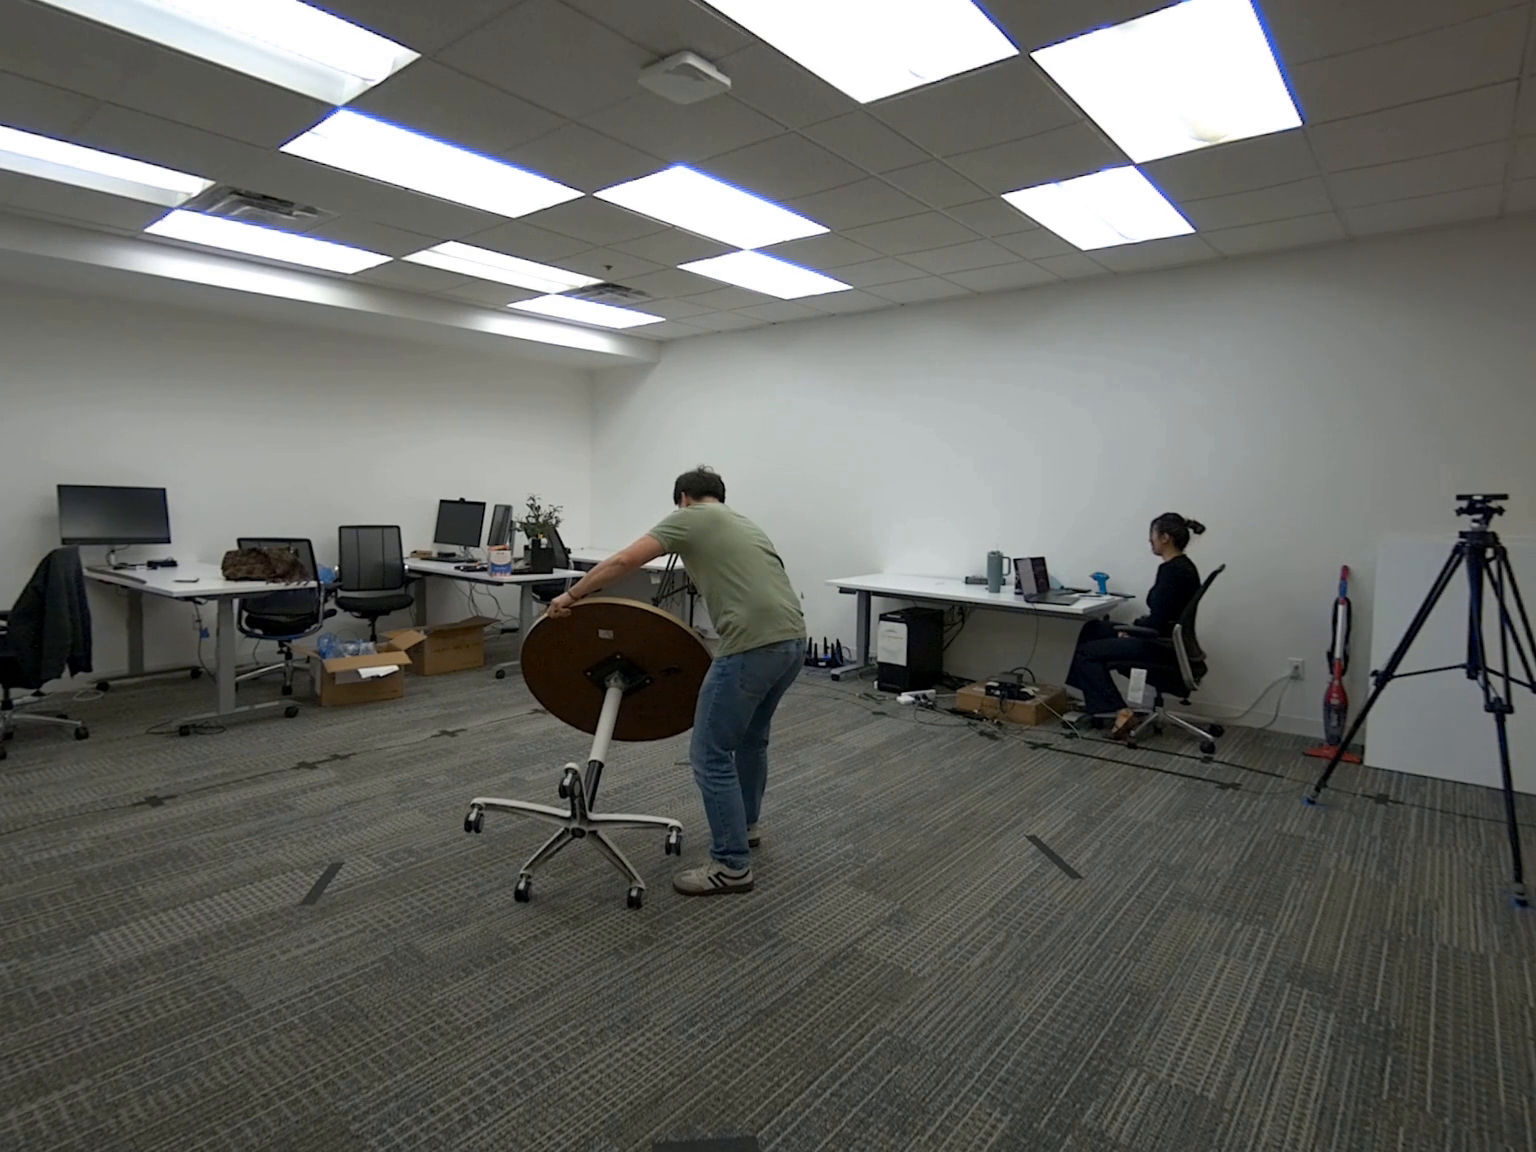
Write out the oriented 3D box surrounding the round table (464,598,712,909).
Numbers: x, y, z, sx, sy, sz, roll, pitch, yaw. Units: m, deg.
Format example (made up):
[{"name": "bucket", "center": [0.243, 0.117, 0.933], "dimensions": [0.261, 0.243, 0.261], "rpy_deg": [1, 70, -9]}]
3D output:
[{"name": "round table", "center": [-0.601, 0.623, 2.958], "dimensions": [0.768, 0.742, 0.814], "rpy_deg": [1, 39, 3]}]
